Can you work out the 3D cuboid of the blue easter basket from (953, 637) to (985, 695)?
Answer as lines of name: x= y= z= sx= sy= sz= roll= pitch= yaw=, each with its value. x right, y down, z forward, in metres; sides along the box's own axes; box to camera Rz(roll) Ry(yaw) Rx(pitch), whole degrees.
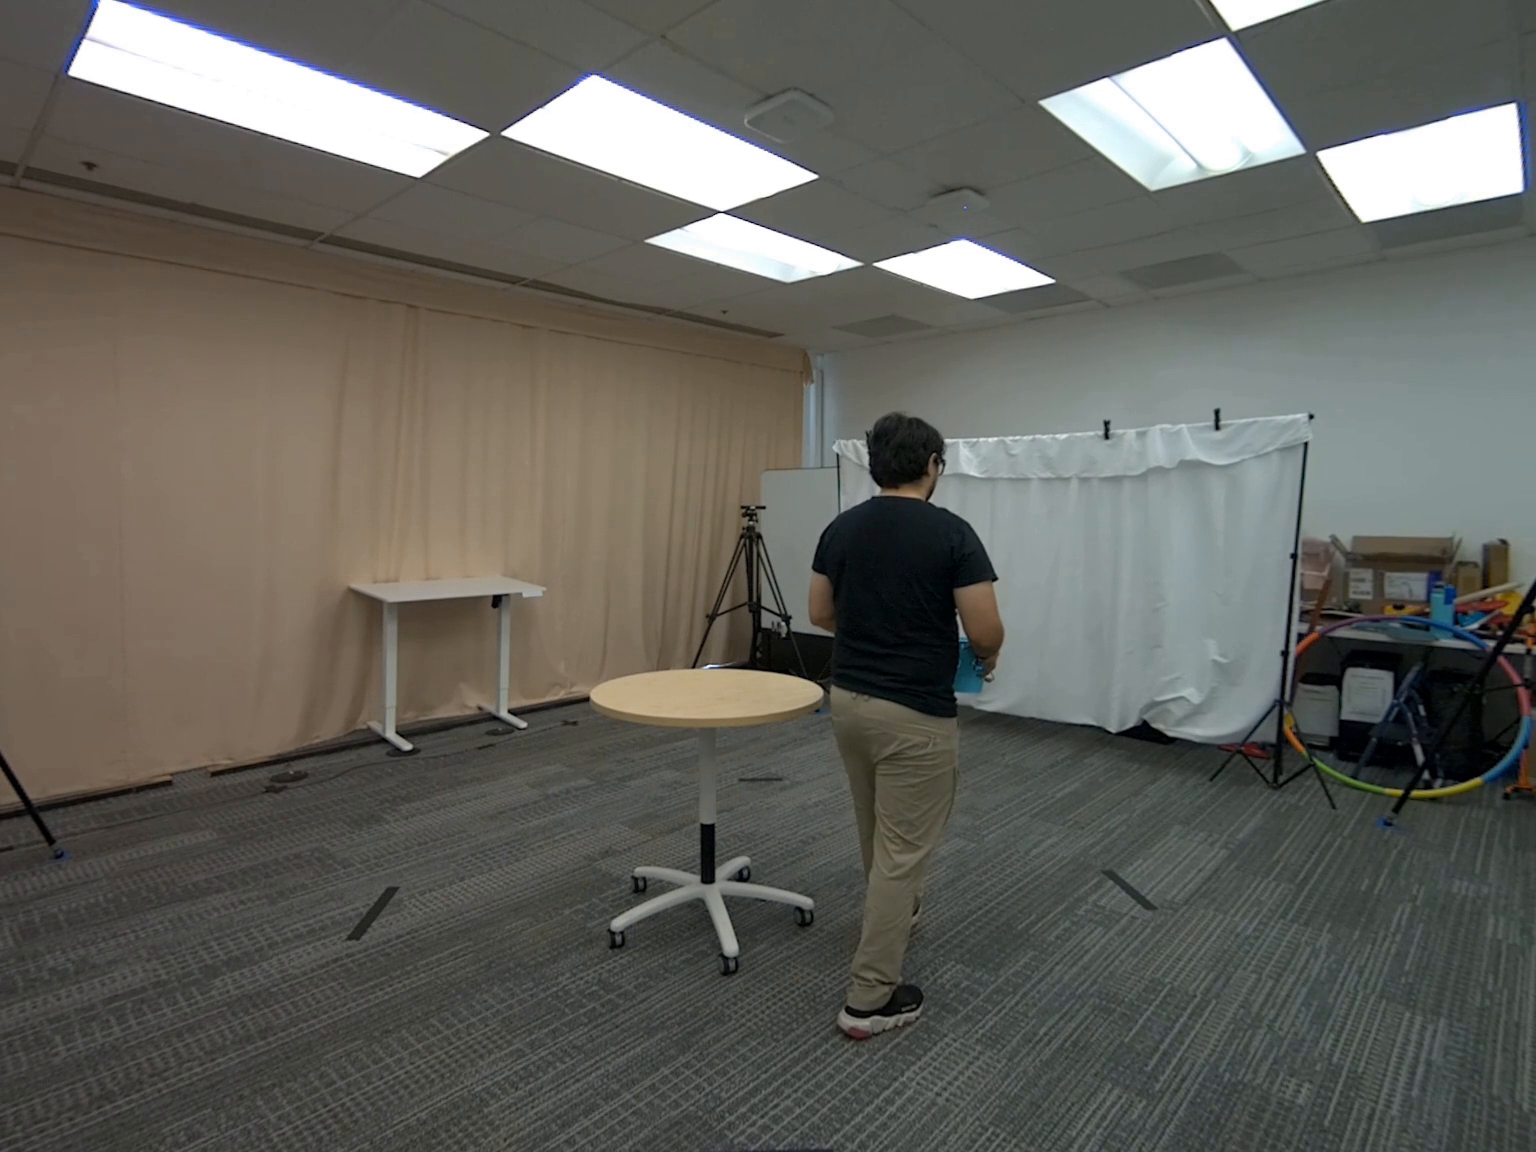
blue easter basket: x=0.586 y=0.270 z=2.540 sx=0.243 sy=0.156 sz=0.244 roll=4 pitch=3 yaw=-2
